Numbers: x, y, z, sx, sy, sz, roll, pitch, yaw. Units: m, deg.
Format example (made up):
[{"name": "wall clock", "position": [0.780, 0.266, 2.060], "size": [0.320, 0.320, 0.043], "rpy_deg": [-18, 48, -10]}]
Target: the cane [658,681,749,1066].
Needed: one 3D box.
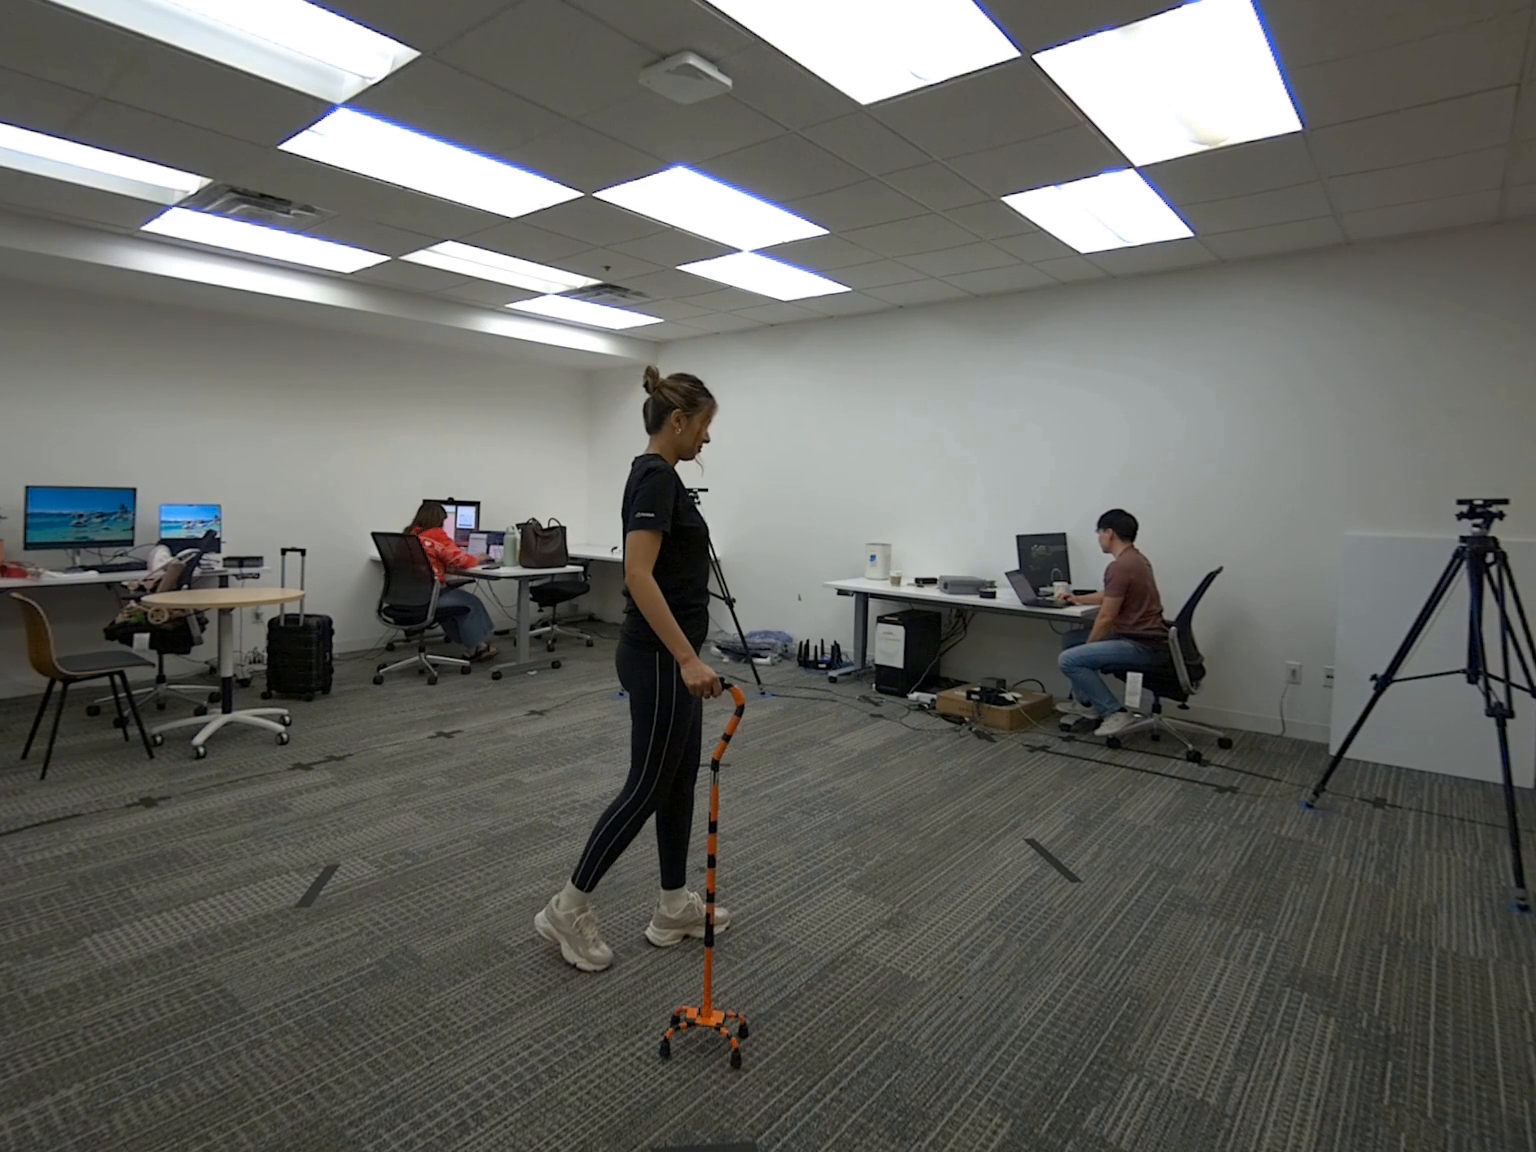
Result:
[{"name": "cane", "position": [-0.139, 0.709, 2.142], "size": [0.208, 0.909, 0.150], "rpy_deg": [3, -2, 4]}]
